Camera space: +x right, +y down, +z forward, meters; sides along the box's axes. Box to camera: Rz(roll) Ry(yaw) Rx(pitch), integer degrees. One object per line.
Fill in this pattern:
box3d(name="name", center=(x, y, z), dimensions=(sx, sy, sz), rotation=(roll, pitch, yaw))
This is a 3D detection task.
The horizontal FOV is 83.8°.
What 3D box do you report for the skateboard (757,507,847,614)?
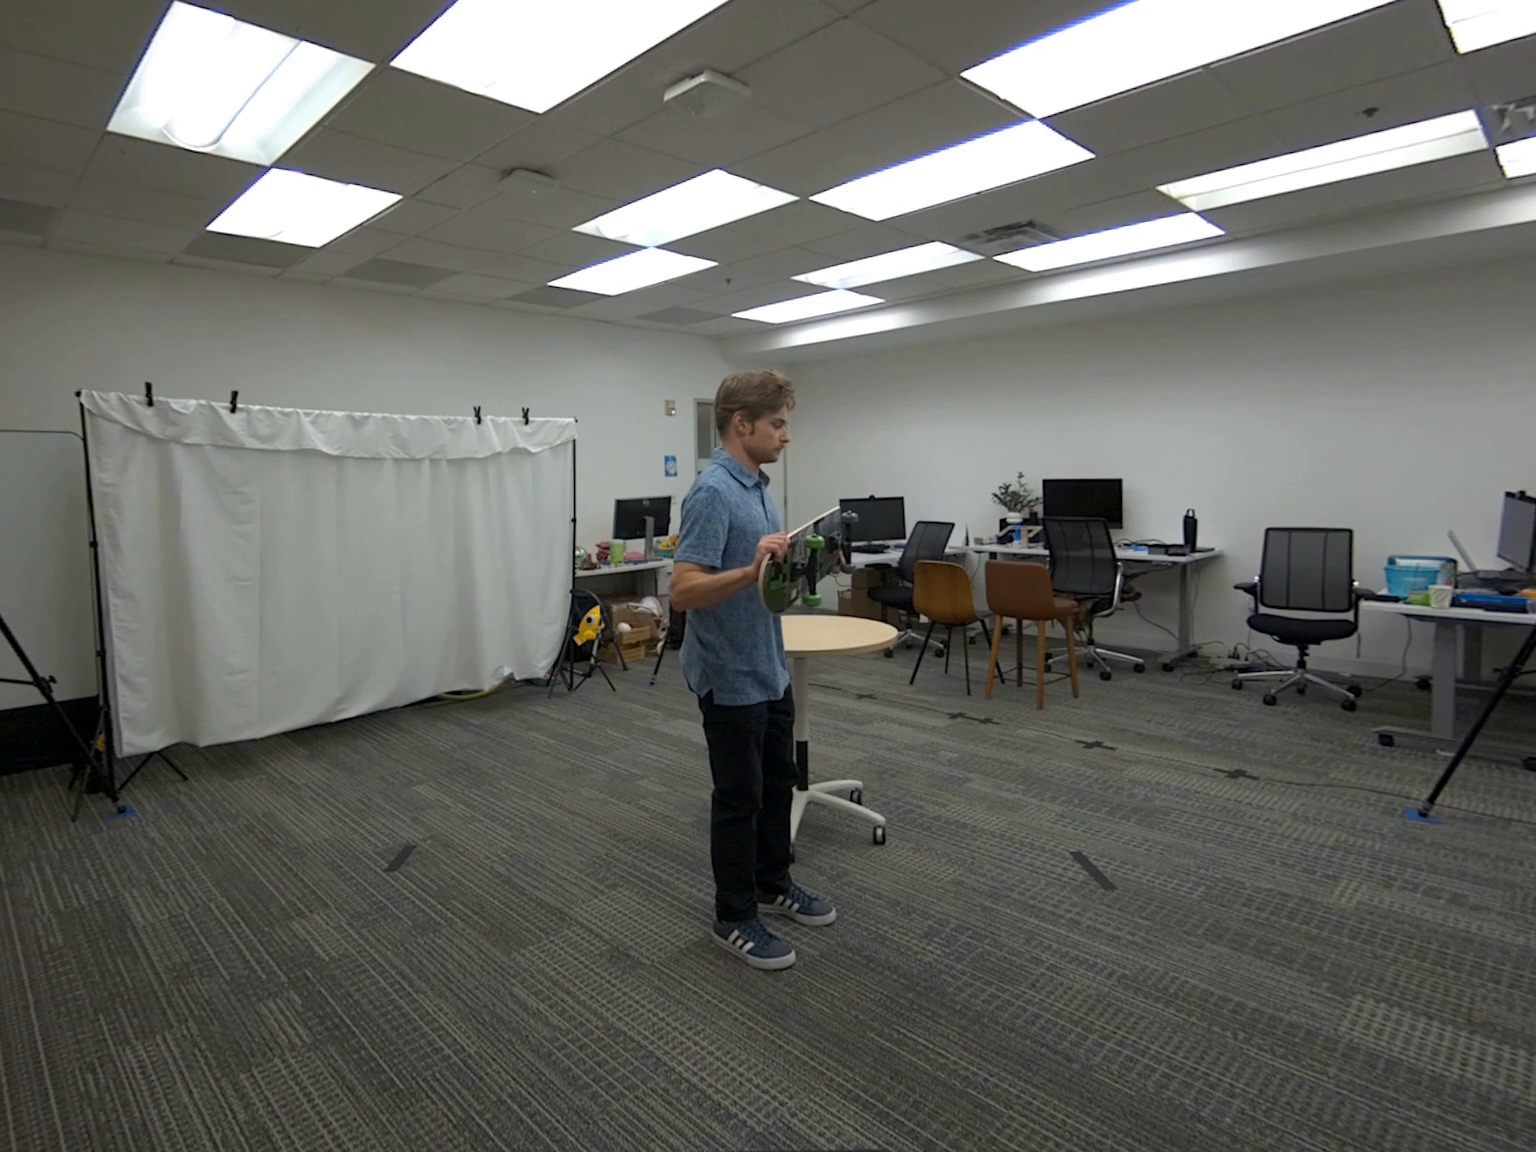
box3d(name="skateboard", center=(0.154, -0.055, 2.426), dimensions=(0.112, 0.191, 0.778), rotation=(6, 14, 18))
